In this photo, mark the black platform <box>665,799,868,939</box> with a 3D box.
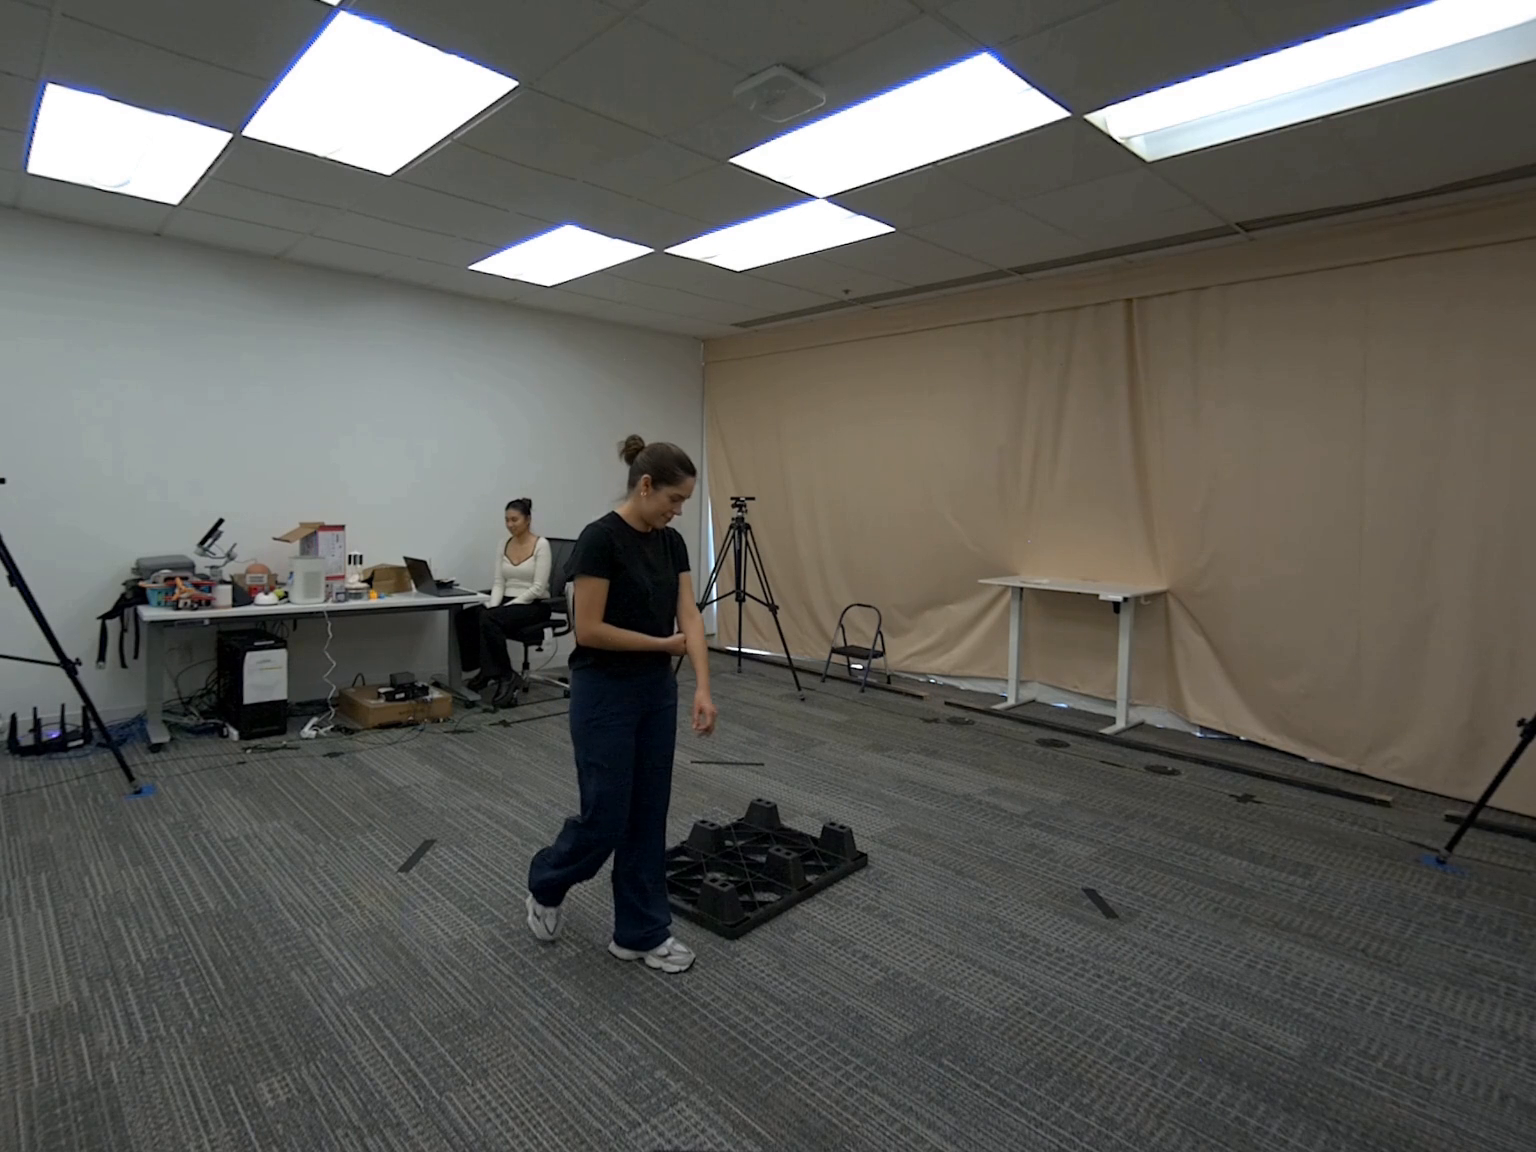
[{"bbox_3d":[-0.093,1.042,3.108,0.620,0.143,0.788,5,6,40],"label":"black platform"}]
